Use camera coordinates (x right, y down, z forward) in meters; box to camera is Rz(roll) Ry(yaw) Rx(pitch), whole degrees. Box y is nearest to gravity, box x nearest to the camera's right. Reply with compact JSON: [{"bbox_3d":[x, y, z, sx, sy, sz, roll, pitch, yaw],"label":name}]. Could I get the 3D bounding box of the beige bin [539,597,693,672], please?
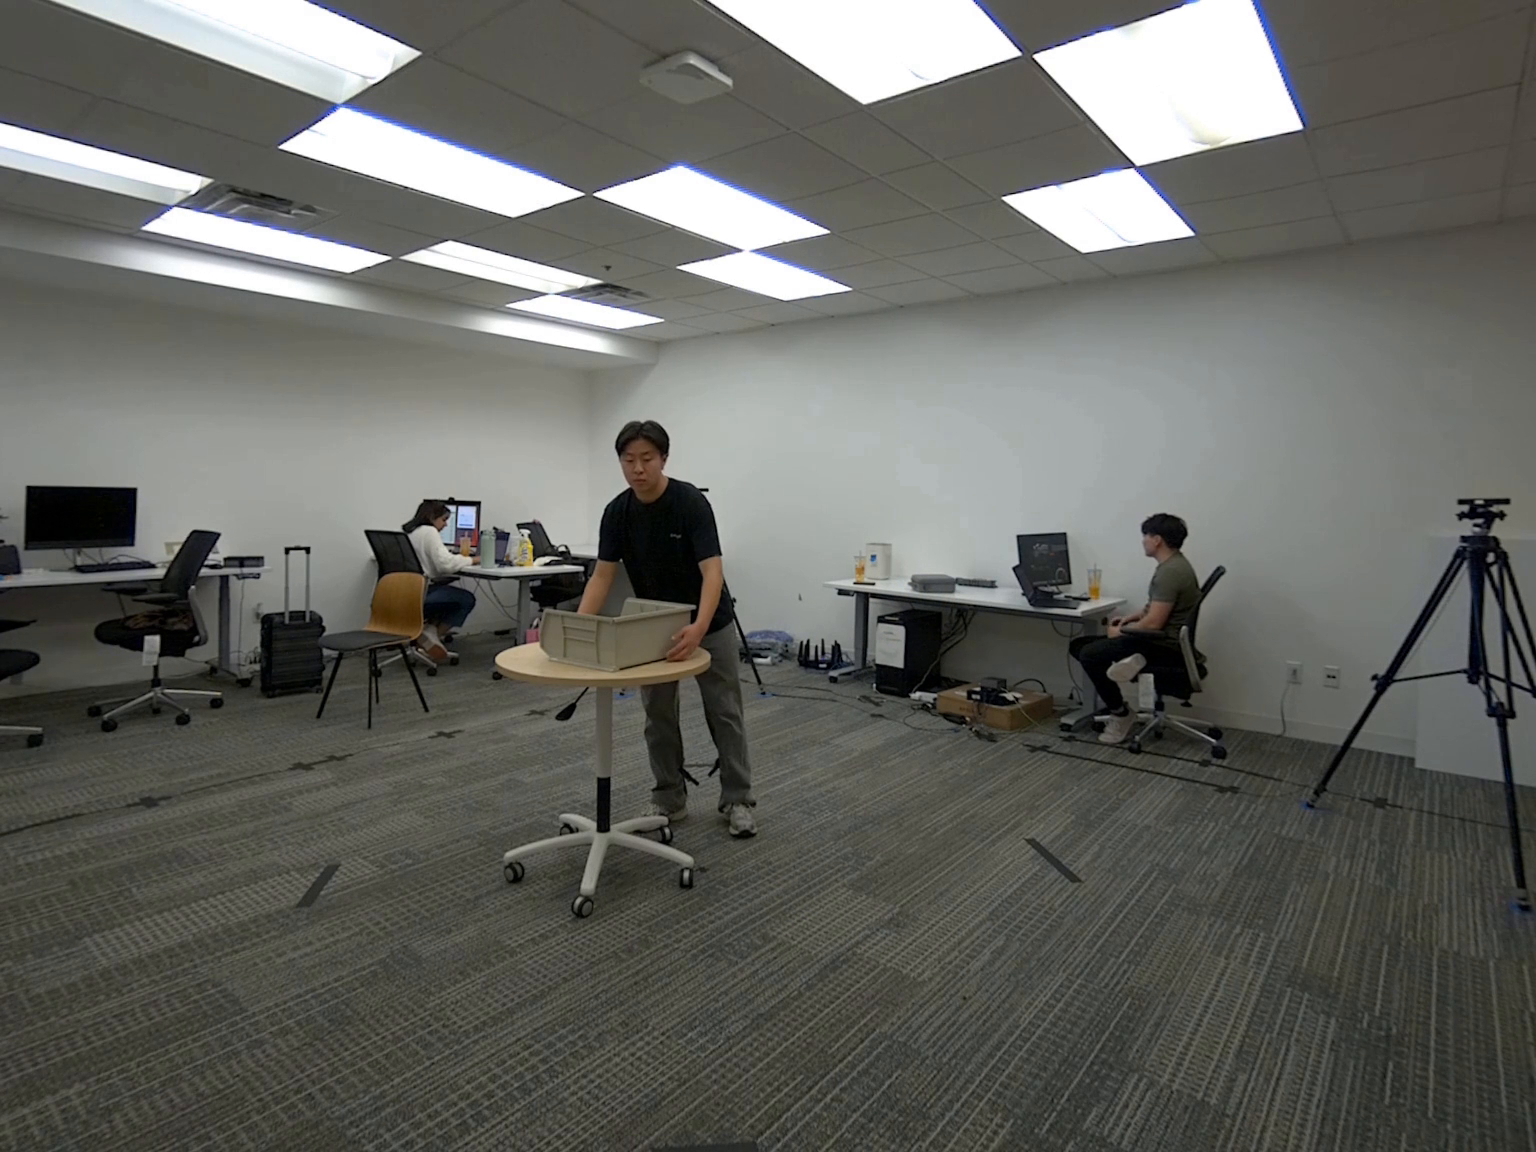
[{"bbox_3d":[-0.552,0.196,3.040,0.389,0.188,0.411,5,7,34],"label":"beige bin"}]
